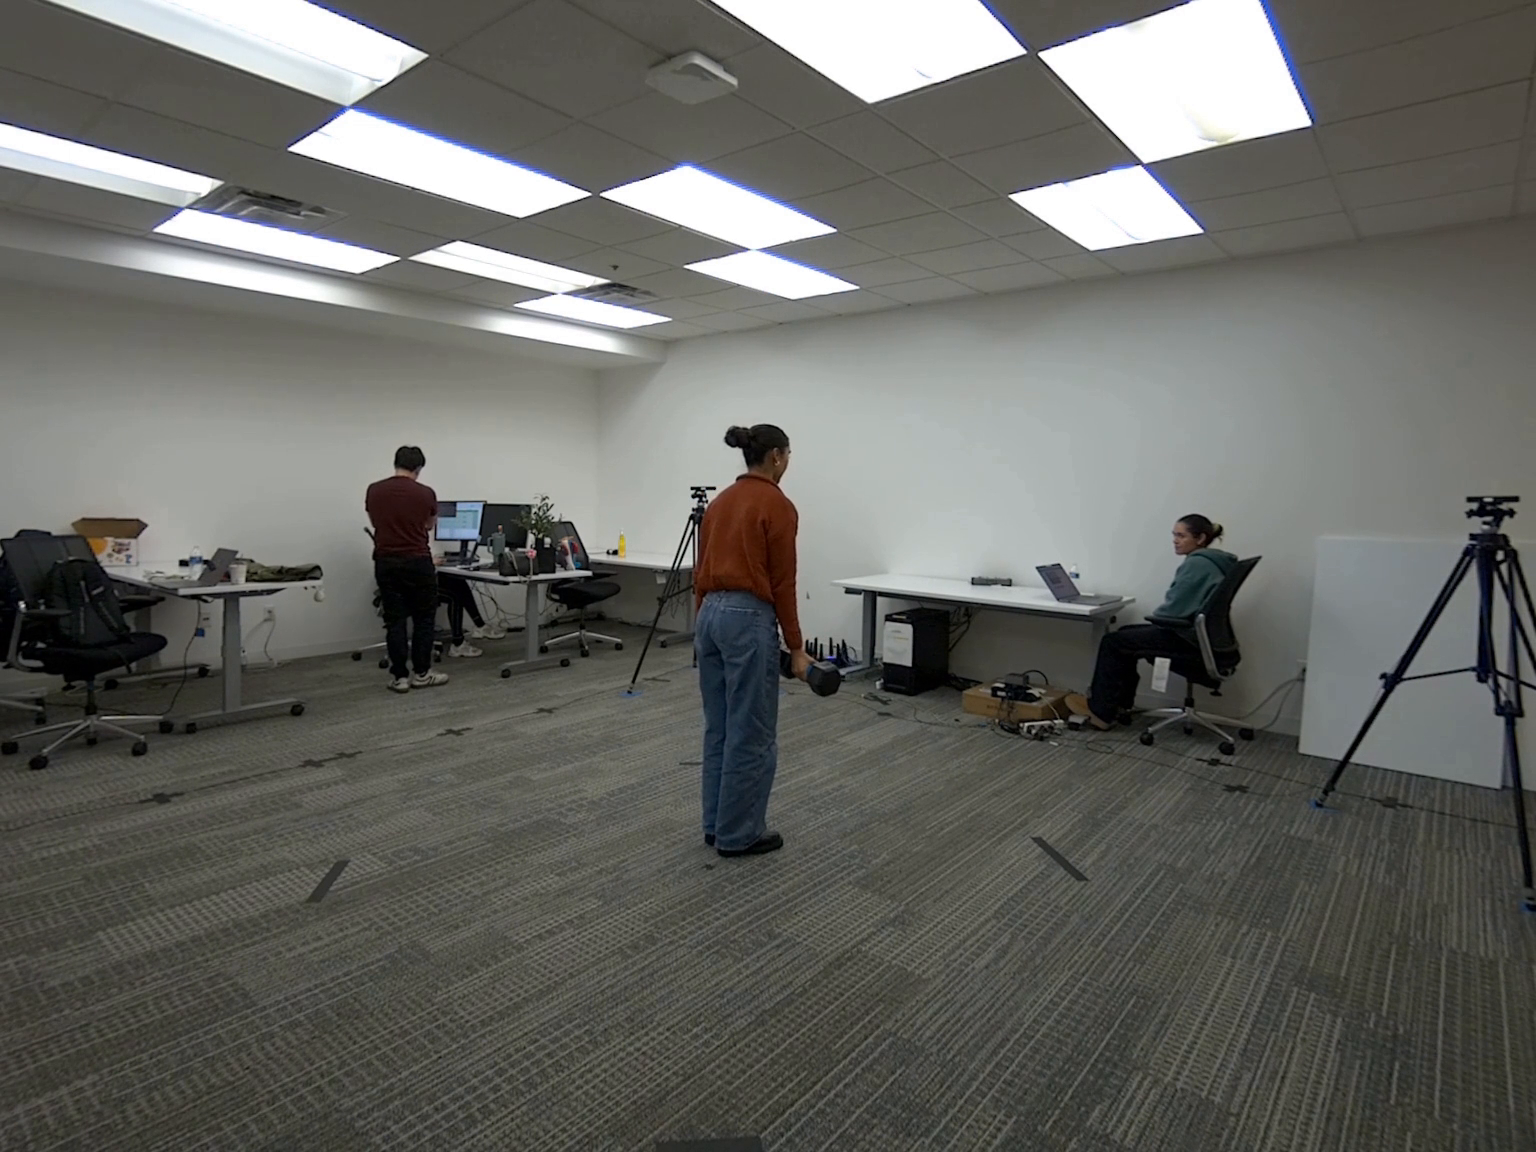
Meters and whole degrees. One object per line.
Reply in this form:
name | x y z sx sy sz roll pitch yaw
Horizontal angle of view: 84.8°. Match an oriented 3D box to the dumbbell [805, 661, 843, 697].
dumbbell | 0.140 0.352 3.169 0.105 0.123 0.304 27 -5 -34
